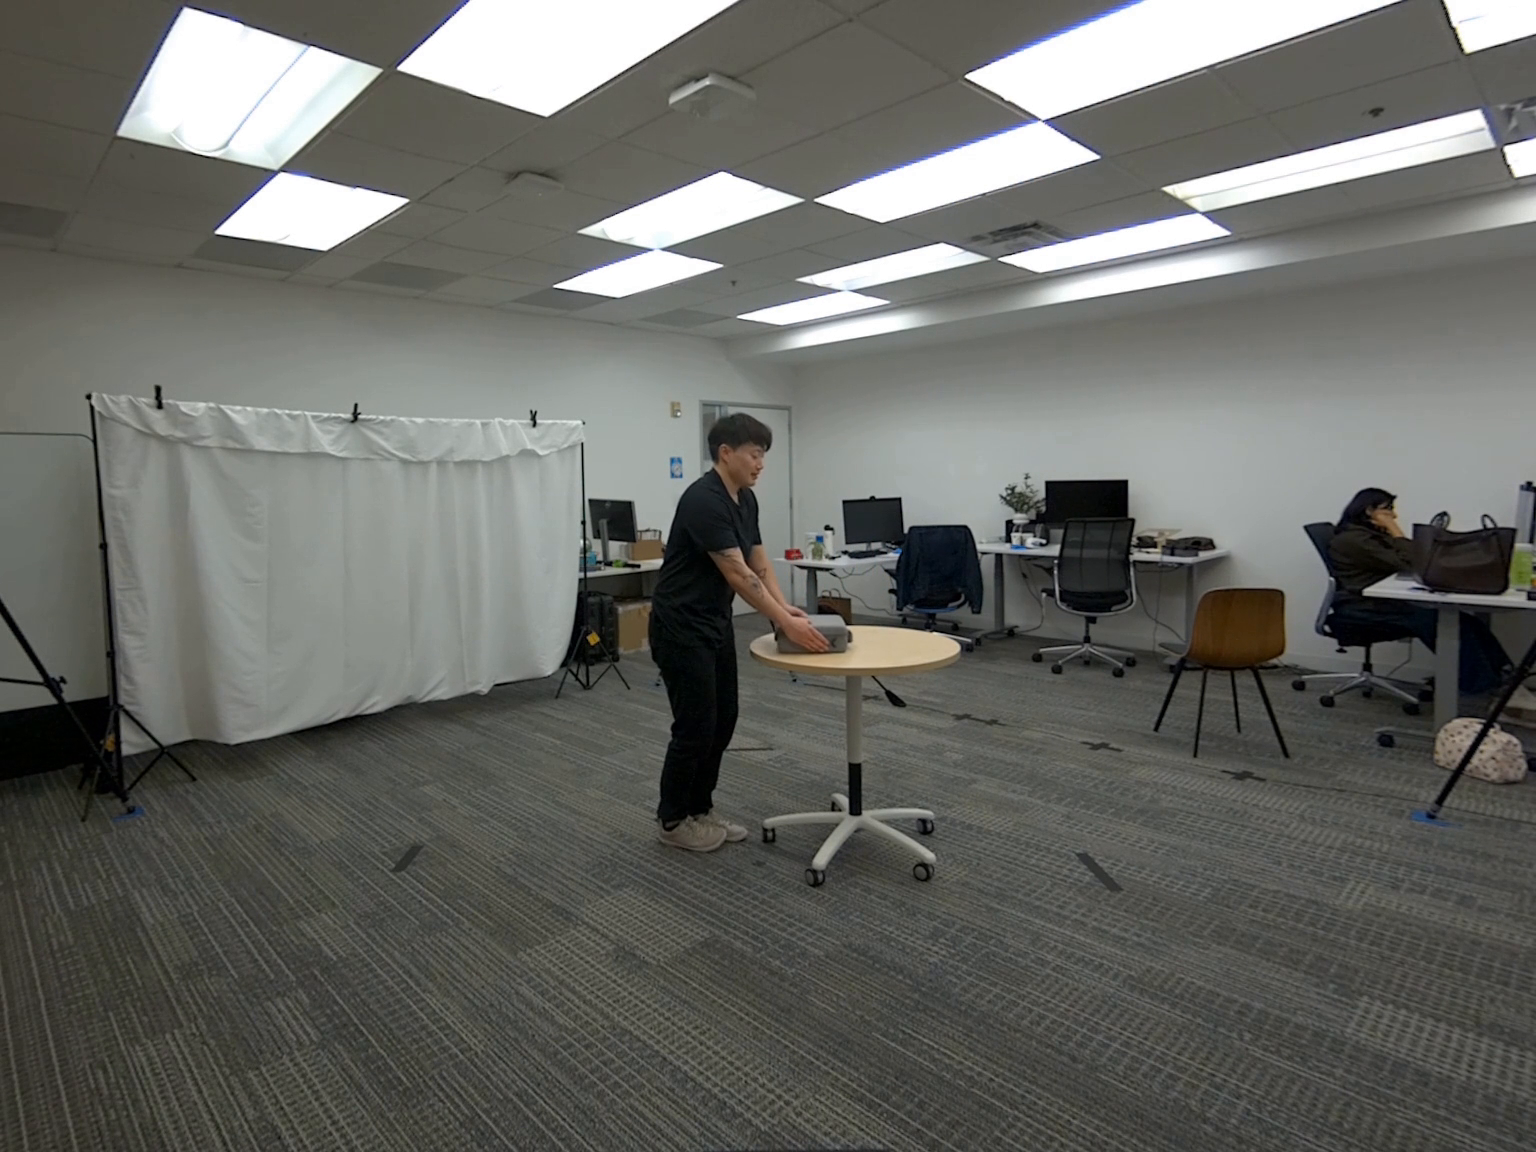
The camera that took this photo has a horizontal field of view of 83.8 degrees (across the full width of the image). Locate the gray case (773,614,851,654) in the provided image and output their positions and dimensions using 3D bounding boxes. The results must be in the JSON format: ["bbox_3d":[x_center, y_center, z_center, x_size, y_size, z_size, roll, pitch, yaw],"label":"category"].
[{"bbox_3d":[0.161,0.211,3.131,0.261,0.104,0.258,-2,5,0],"label":"gray case"}]
